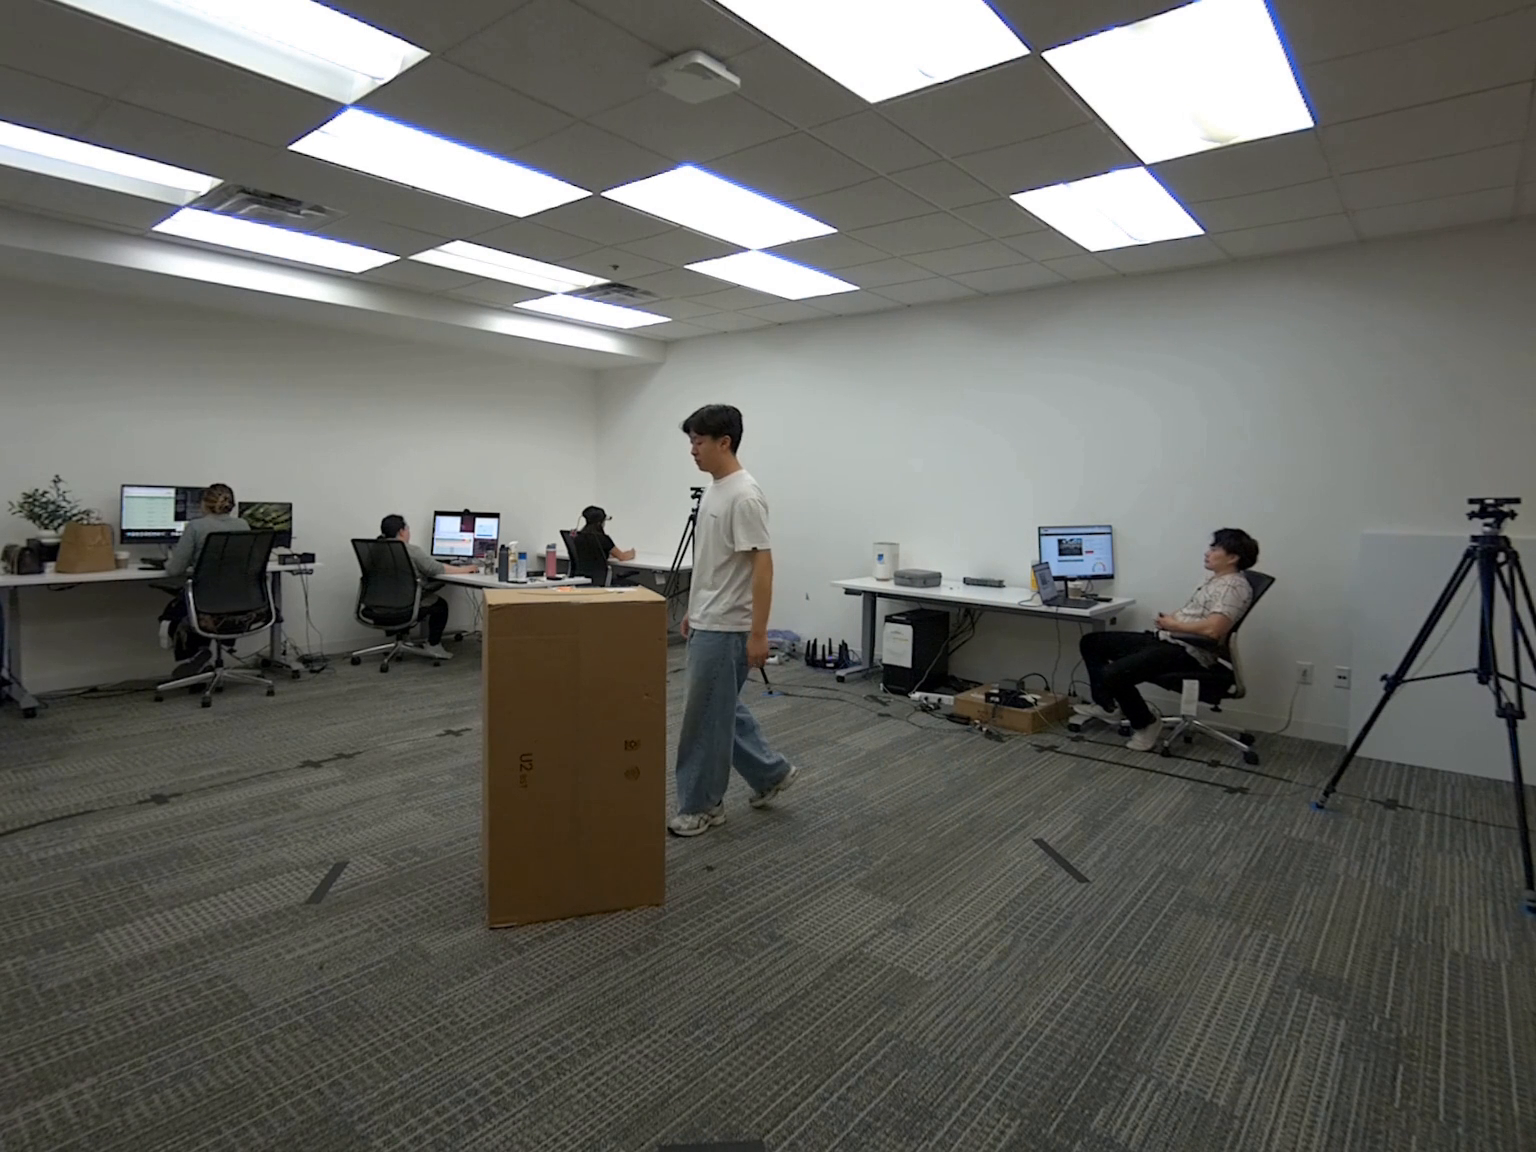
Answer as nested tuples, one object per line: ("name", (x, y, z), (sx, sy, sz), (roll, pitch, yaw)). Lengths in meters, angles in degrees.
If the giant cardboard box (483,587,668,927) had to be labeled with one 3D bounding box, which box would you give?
("giant cardboard box", (-0.686, 0.566, 2.912), (0.566, 1.023, 0.436), (0, 3, -20))
